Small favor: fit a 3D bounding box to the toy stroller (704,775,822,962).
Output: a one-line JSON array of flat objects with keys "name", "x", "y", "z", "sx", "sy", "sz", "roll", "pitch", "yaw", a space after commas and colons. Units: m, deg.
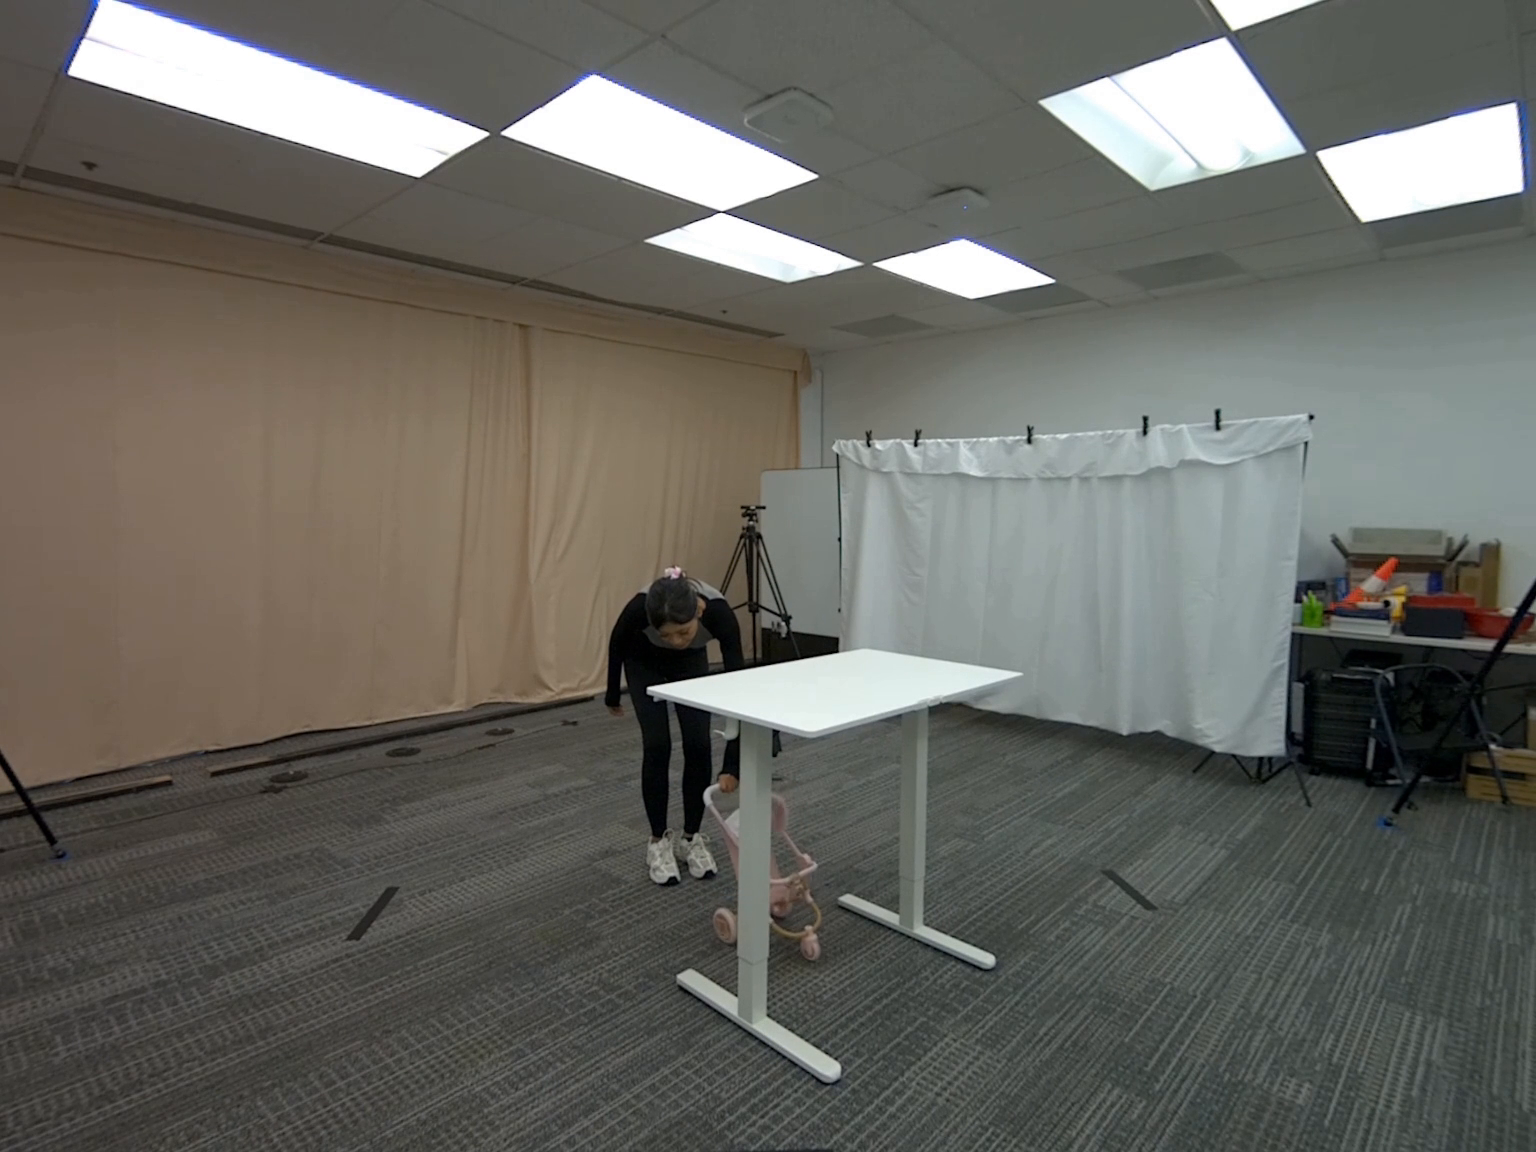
[{"name": "toy stroller", "x": 0.003, "y": 0.937, "z": 2.699, "sx": 0.273, "sy": 0.537, "sz": 0.350, "roll": -4, "pitch": -7, "yaw": -39}]
